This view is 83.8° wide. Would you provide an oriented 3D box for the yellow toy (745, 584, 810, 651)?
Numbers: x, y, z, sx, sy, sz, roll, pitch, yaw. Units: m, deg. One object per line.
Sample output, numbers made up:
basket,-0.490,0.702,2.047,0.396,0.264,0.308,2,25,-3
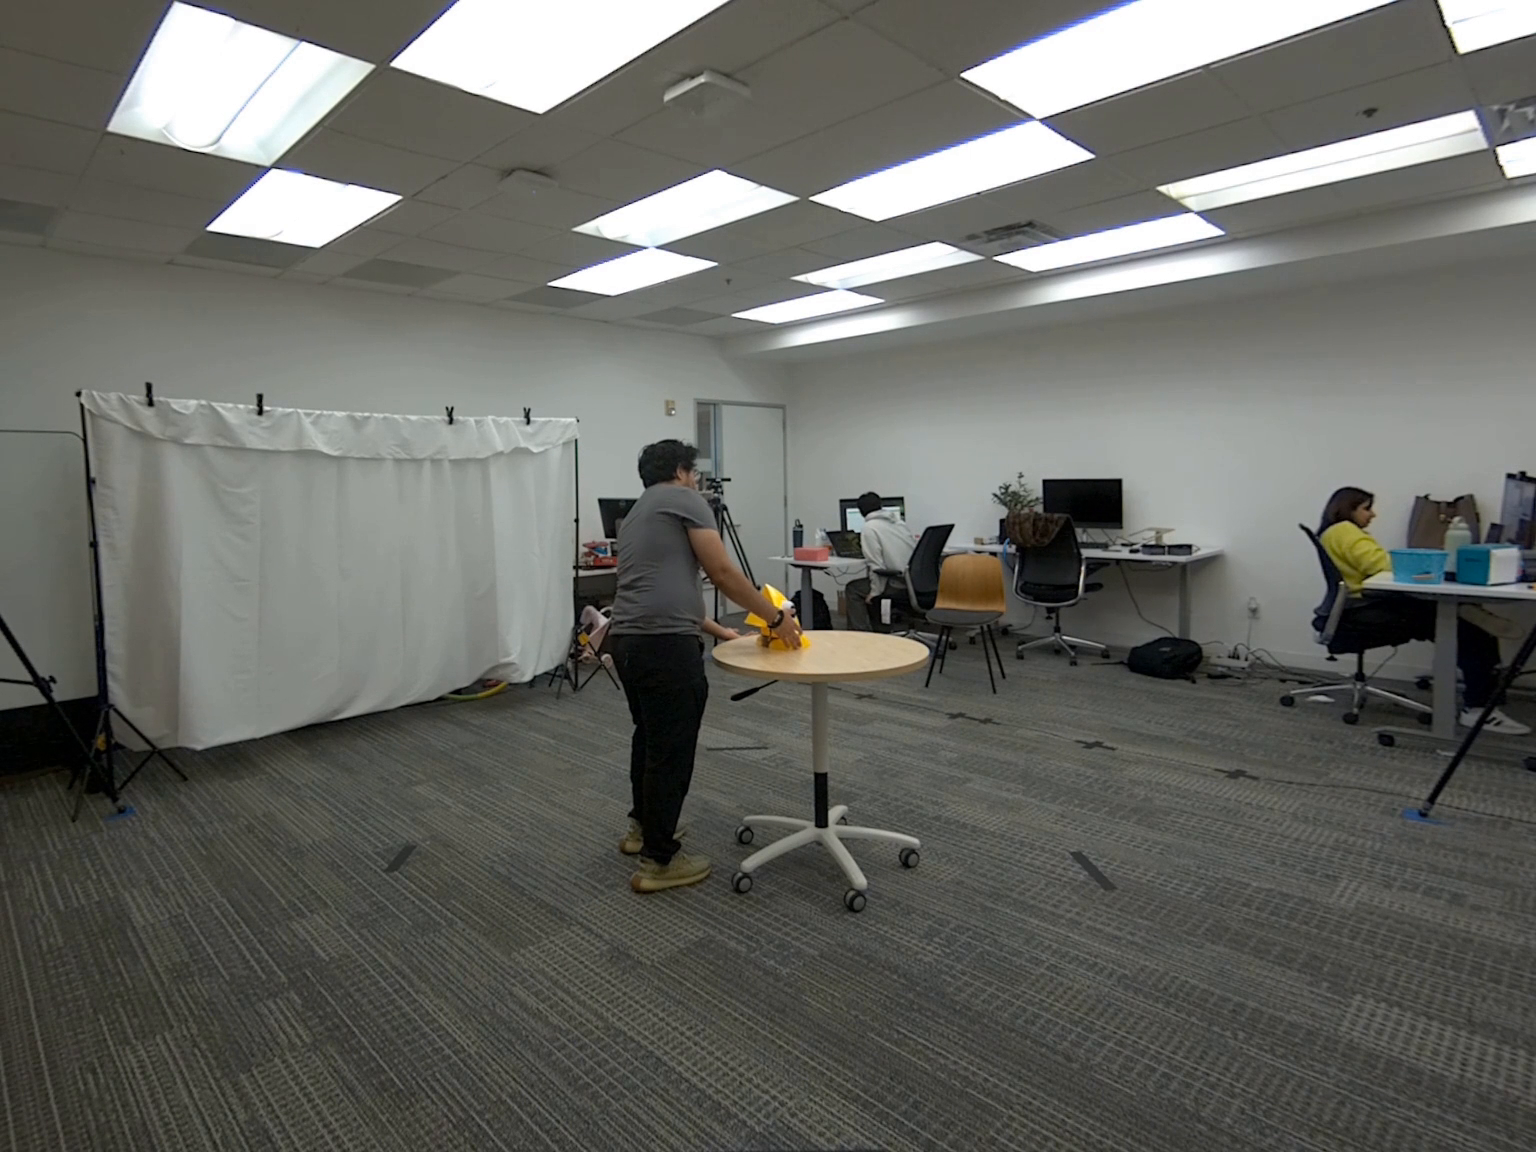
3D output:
yellow toy,0.048,0.146,3.150,0.188,0.230,0.210,-3,3,-33
